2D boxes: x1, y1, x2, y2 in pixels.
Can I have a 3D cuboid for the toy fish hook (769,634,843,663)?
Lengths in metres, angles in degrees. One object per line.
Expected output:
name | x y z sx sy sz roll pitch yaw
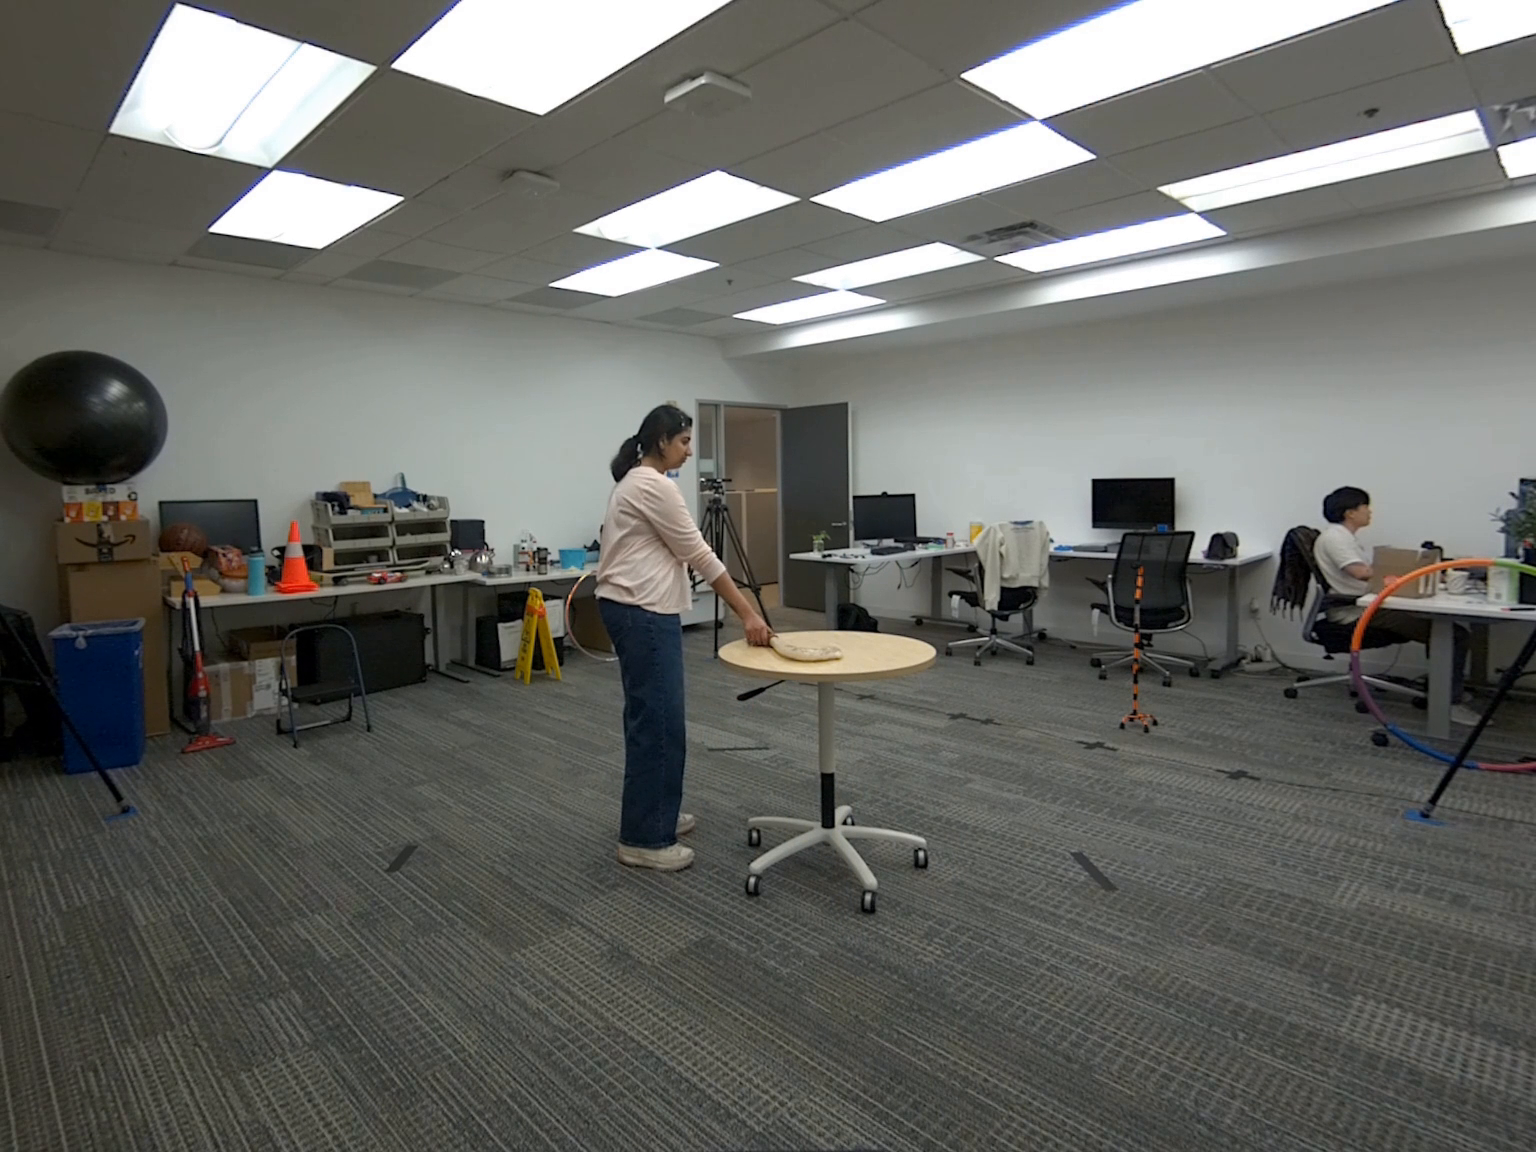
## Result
toy fish hook | 0.089 0.251 3.072 0.219 0.048 0.519 3 5 -25
